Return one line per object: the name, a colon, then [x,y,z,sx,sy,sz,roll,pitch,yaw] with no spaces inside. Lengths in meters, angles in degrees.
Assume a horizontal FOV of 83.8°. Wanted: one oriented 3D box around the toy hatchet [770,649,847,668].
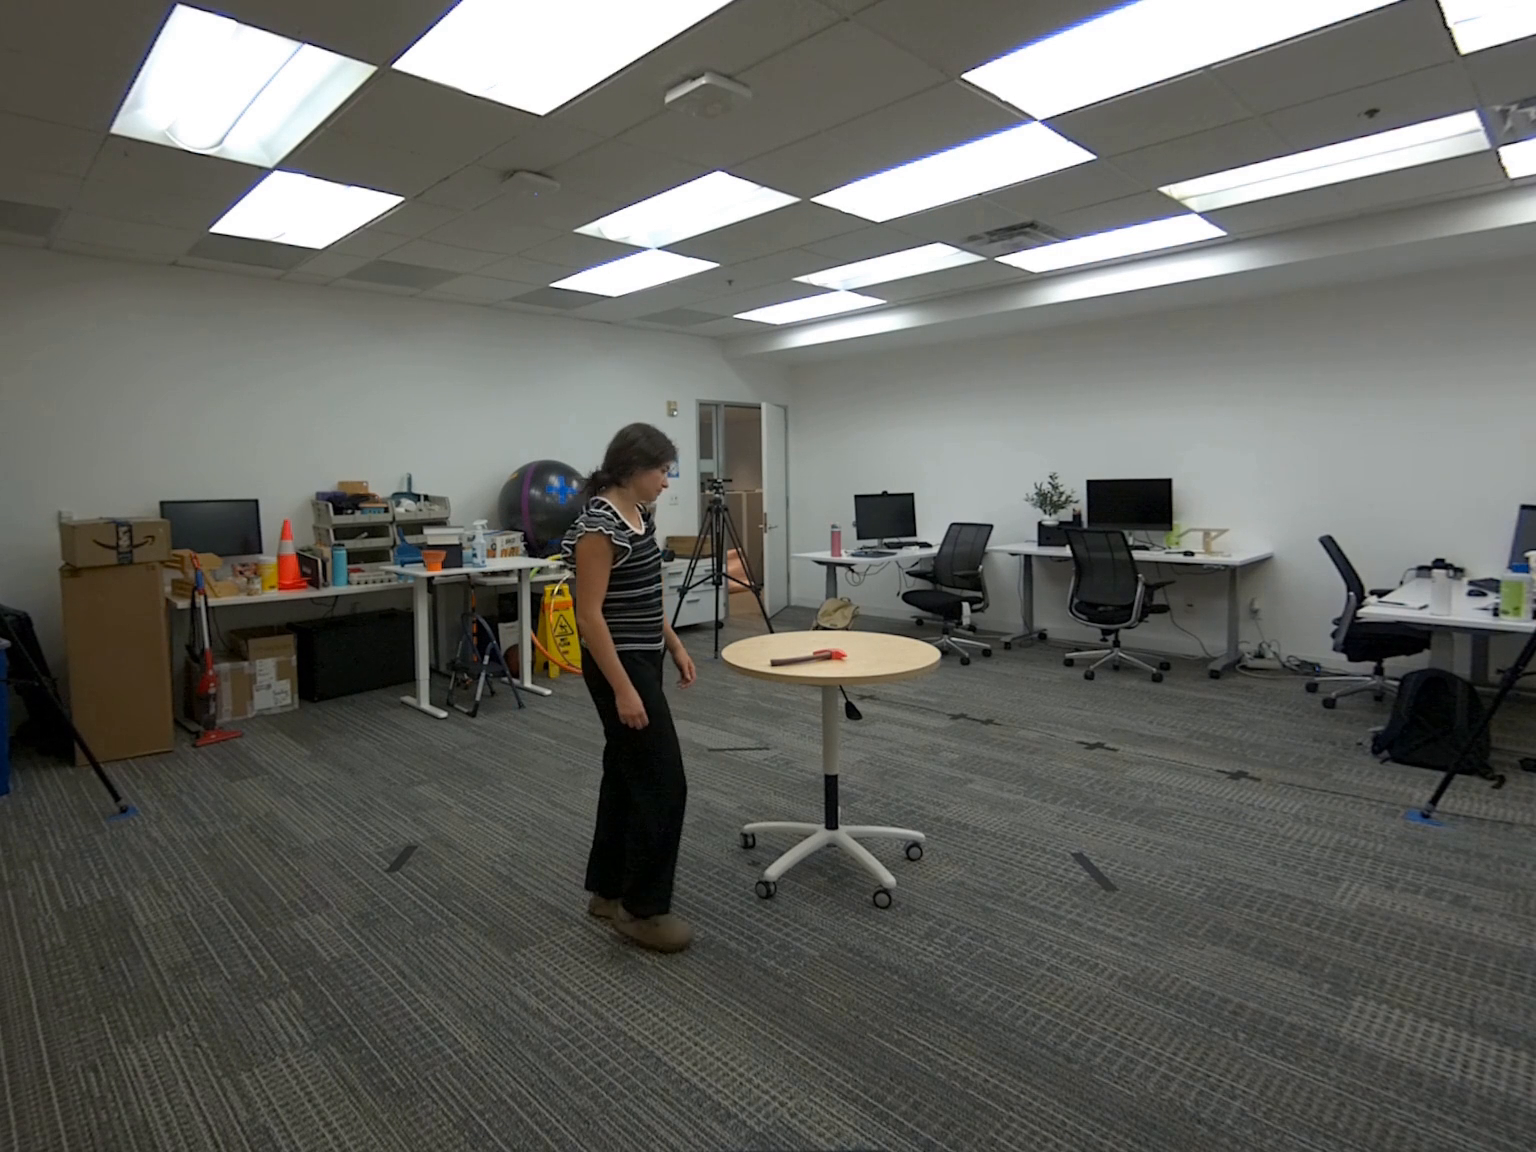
toy hatchet: [0.131,0.276,2.887,0.267,0.029,0.133,-5,5,-13]
